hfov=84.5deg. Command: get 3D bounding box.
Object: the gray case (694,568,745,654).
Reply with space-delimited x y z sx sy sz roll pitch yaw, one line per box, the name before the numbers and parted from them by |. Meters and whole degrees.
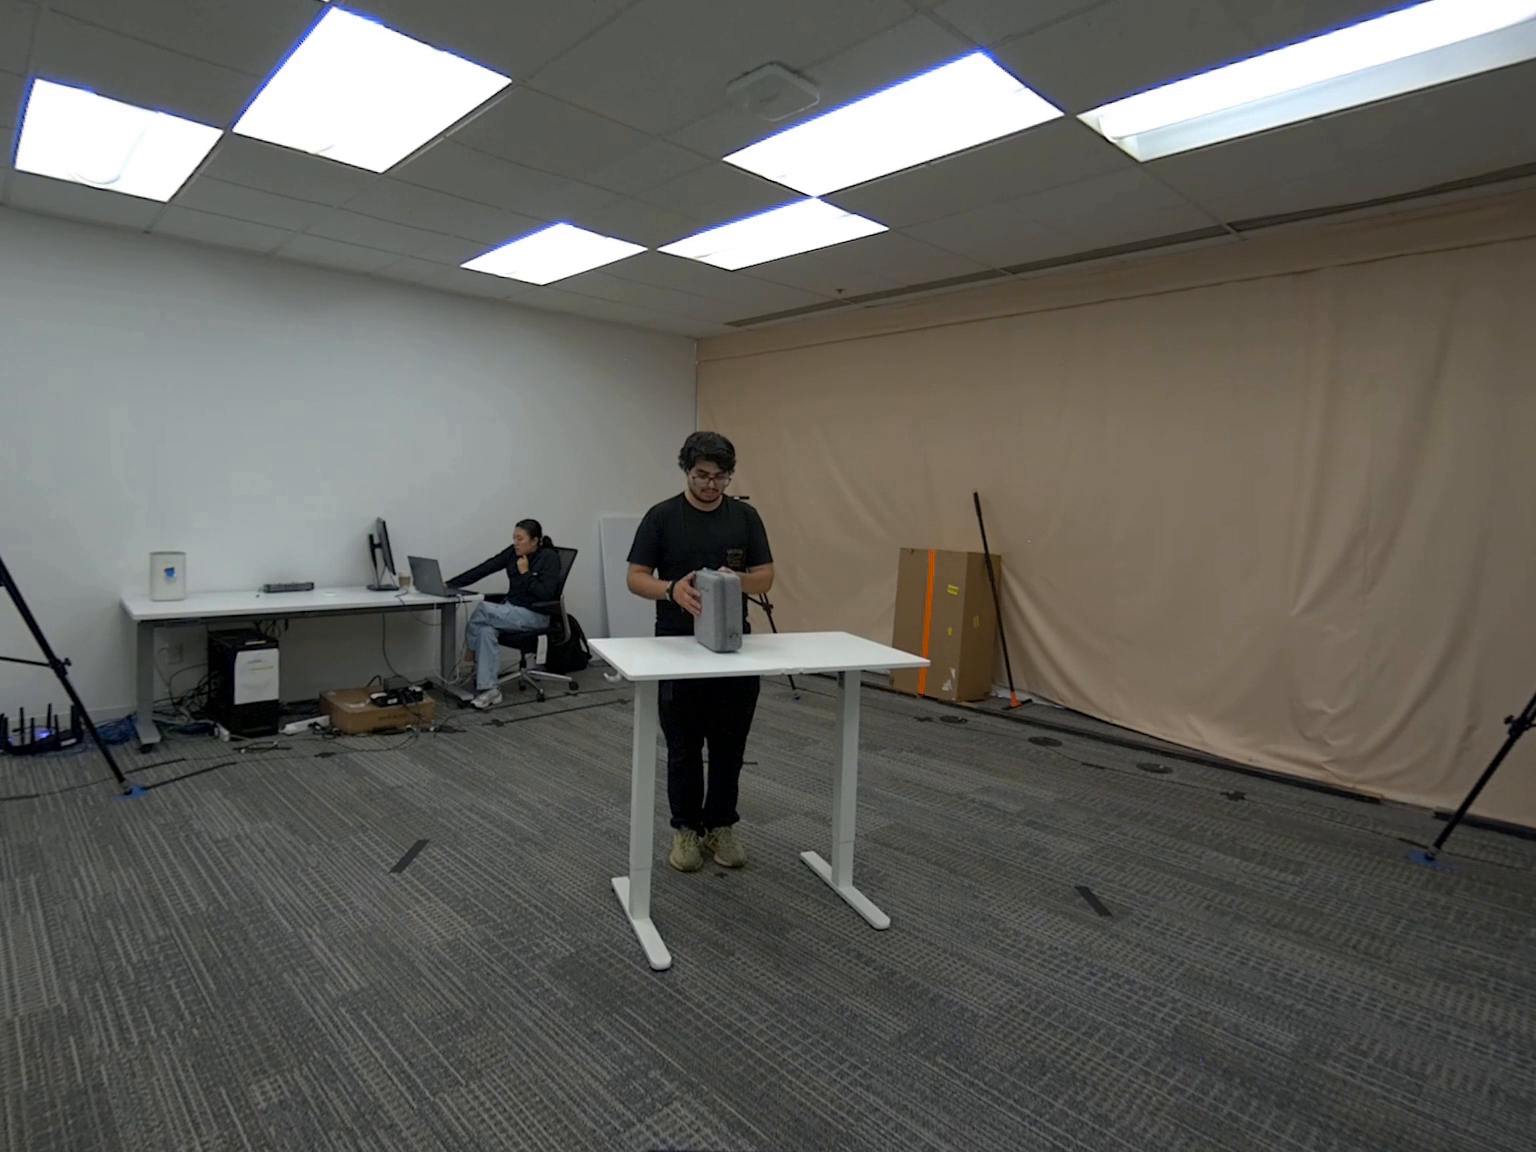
gray case | -0.180 0.113 2.836 0.103 0.260 0.261 -1 6 -17
